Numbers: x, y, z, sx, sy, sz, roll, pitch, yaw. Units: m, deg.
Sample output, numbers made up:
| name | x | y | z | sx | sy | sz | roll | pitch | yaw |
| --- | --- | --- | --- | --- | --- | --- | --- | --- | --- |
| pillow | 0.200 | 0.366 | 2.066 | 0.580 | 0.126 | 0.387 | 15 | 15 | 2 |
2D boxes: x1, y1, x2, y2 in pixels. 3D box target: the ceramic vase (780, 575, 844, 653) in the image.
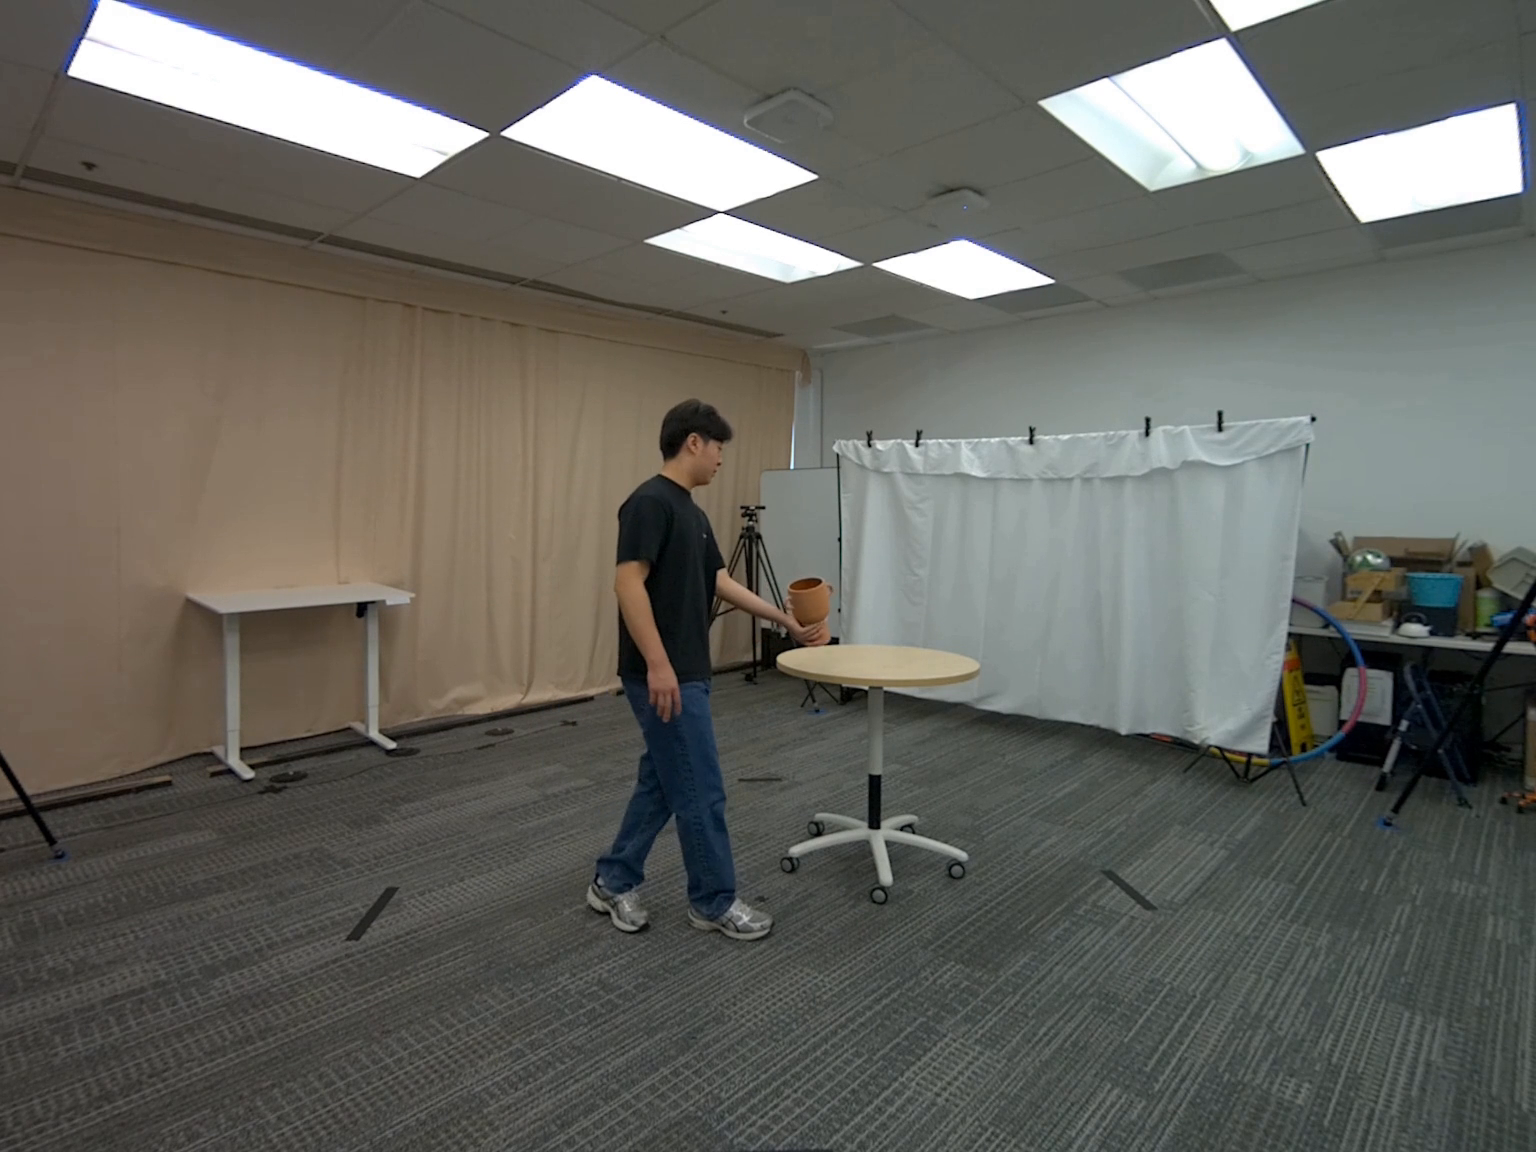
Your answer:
| name | x | y | z | sx | sy | sz | roll | pitch | yaw |
| --- | --- | --- | --- | --- | --- | --- | --- | --- | --- |
| ceramic vase | 0.153 | 0.131 | 2.932 | 0.162 | 0.217 | 0.134 | -6 | 16 | 18 |
